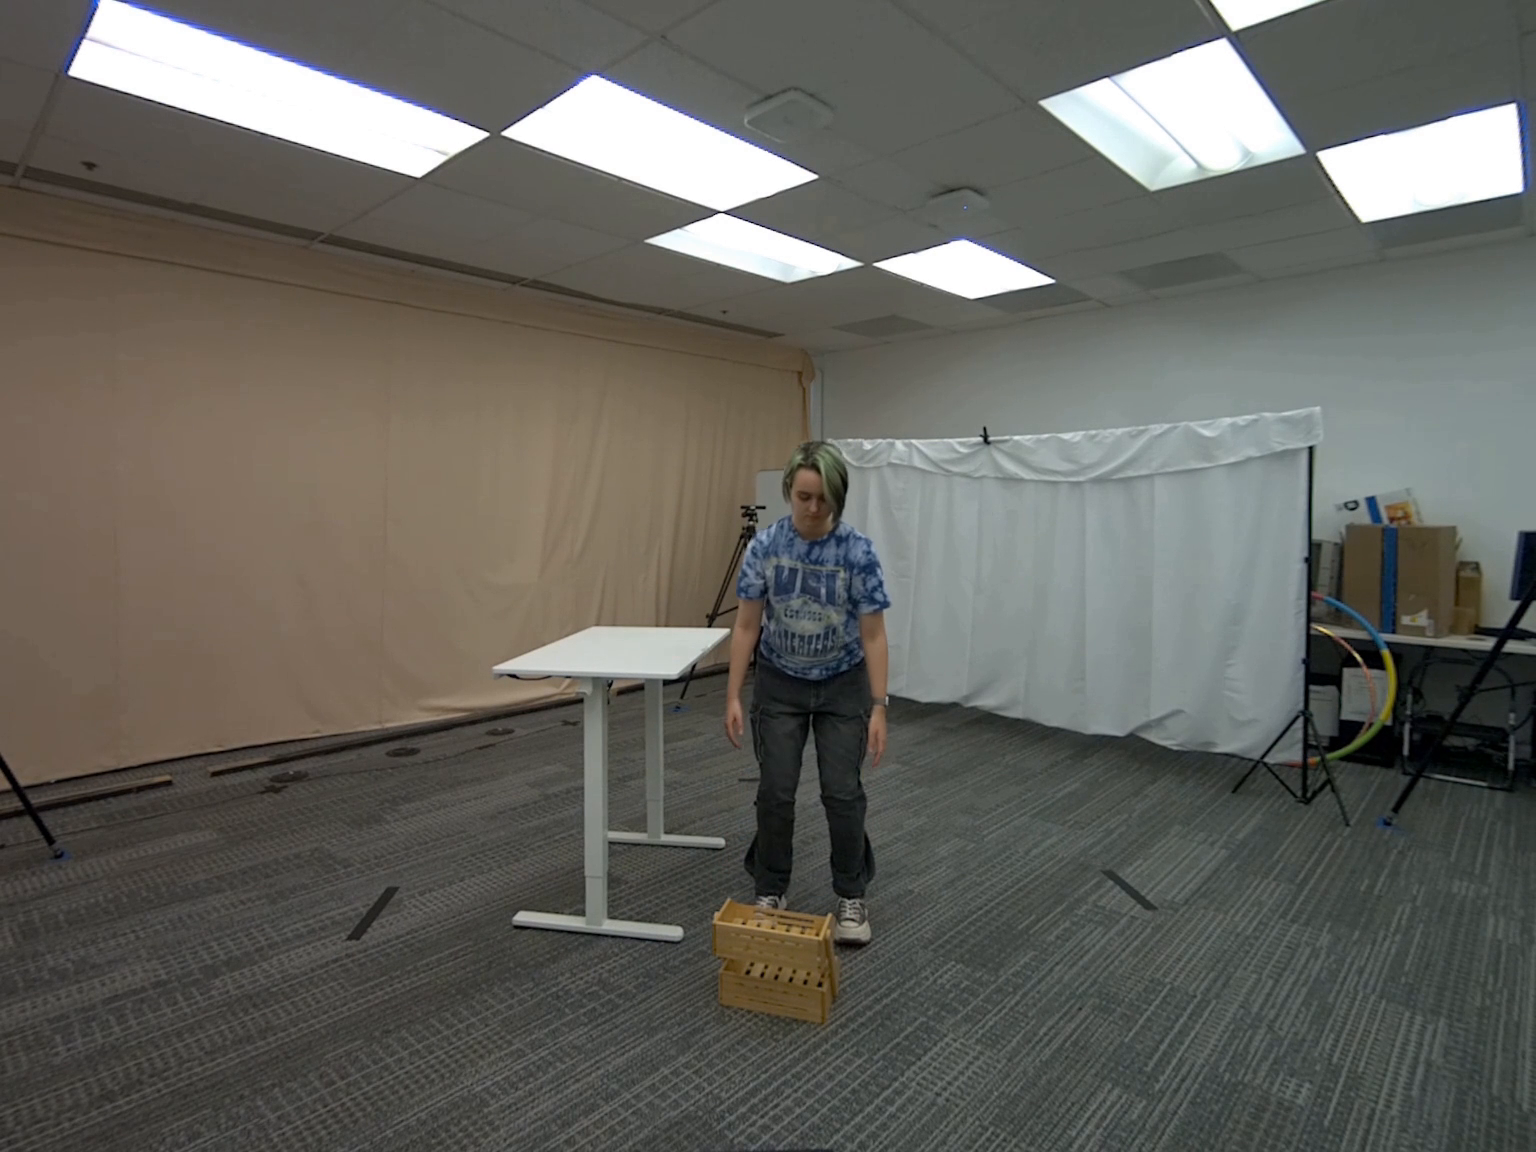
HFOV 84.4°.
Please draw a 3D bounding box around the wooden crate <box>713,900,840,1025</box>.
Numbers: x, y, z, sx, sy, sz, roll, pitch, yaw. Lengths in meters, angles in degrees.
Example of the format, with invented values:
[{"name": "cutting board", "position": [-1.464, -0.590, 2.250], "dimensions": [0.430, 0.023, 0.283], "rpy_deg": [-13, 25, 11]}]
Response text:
[{"name": "wooden crate", "position": [0.034, 1.057, 2.397], "dimensions": [0.330, 0.273, 0.297], "rpy_deg": [2, 4, 17]}]
